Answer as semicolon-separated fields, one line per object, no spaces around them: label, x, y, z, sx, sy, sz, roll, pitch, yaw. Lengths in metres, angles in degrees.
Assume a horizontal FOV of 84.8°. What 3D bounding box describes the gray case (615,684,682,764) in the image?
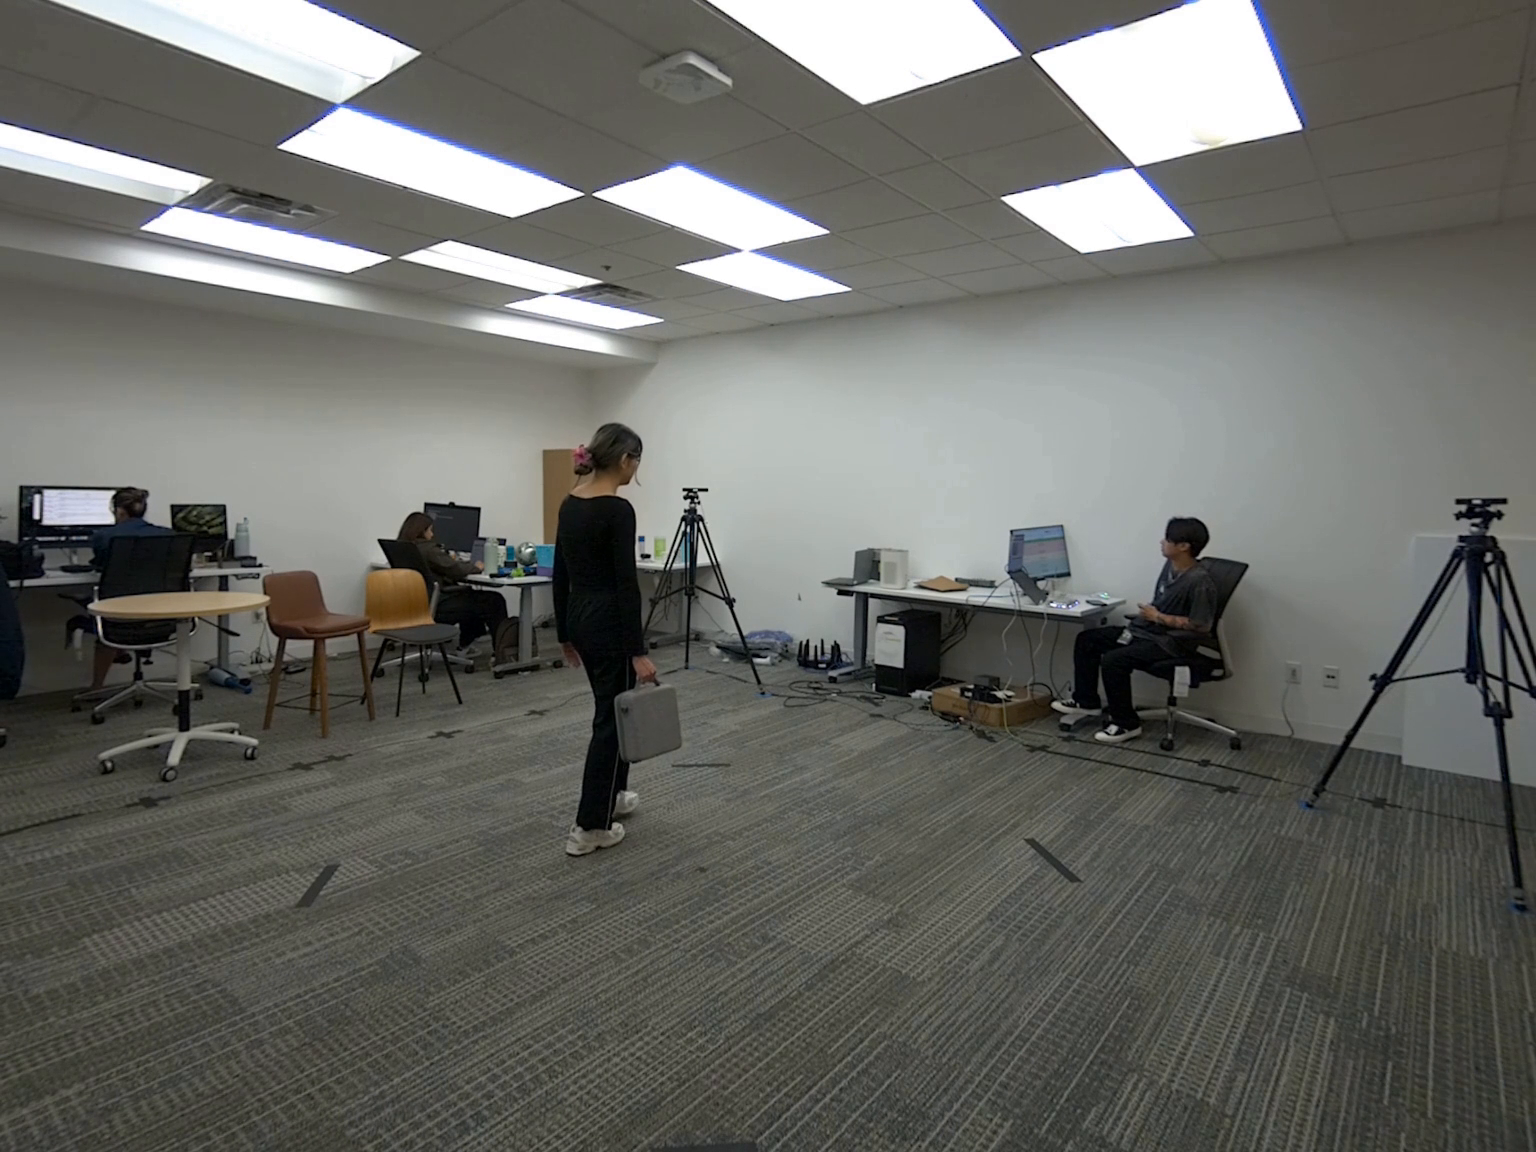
gray case;-0.460;0.541;3.183;0.107;0.261;0.249;-7;-2;39
